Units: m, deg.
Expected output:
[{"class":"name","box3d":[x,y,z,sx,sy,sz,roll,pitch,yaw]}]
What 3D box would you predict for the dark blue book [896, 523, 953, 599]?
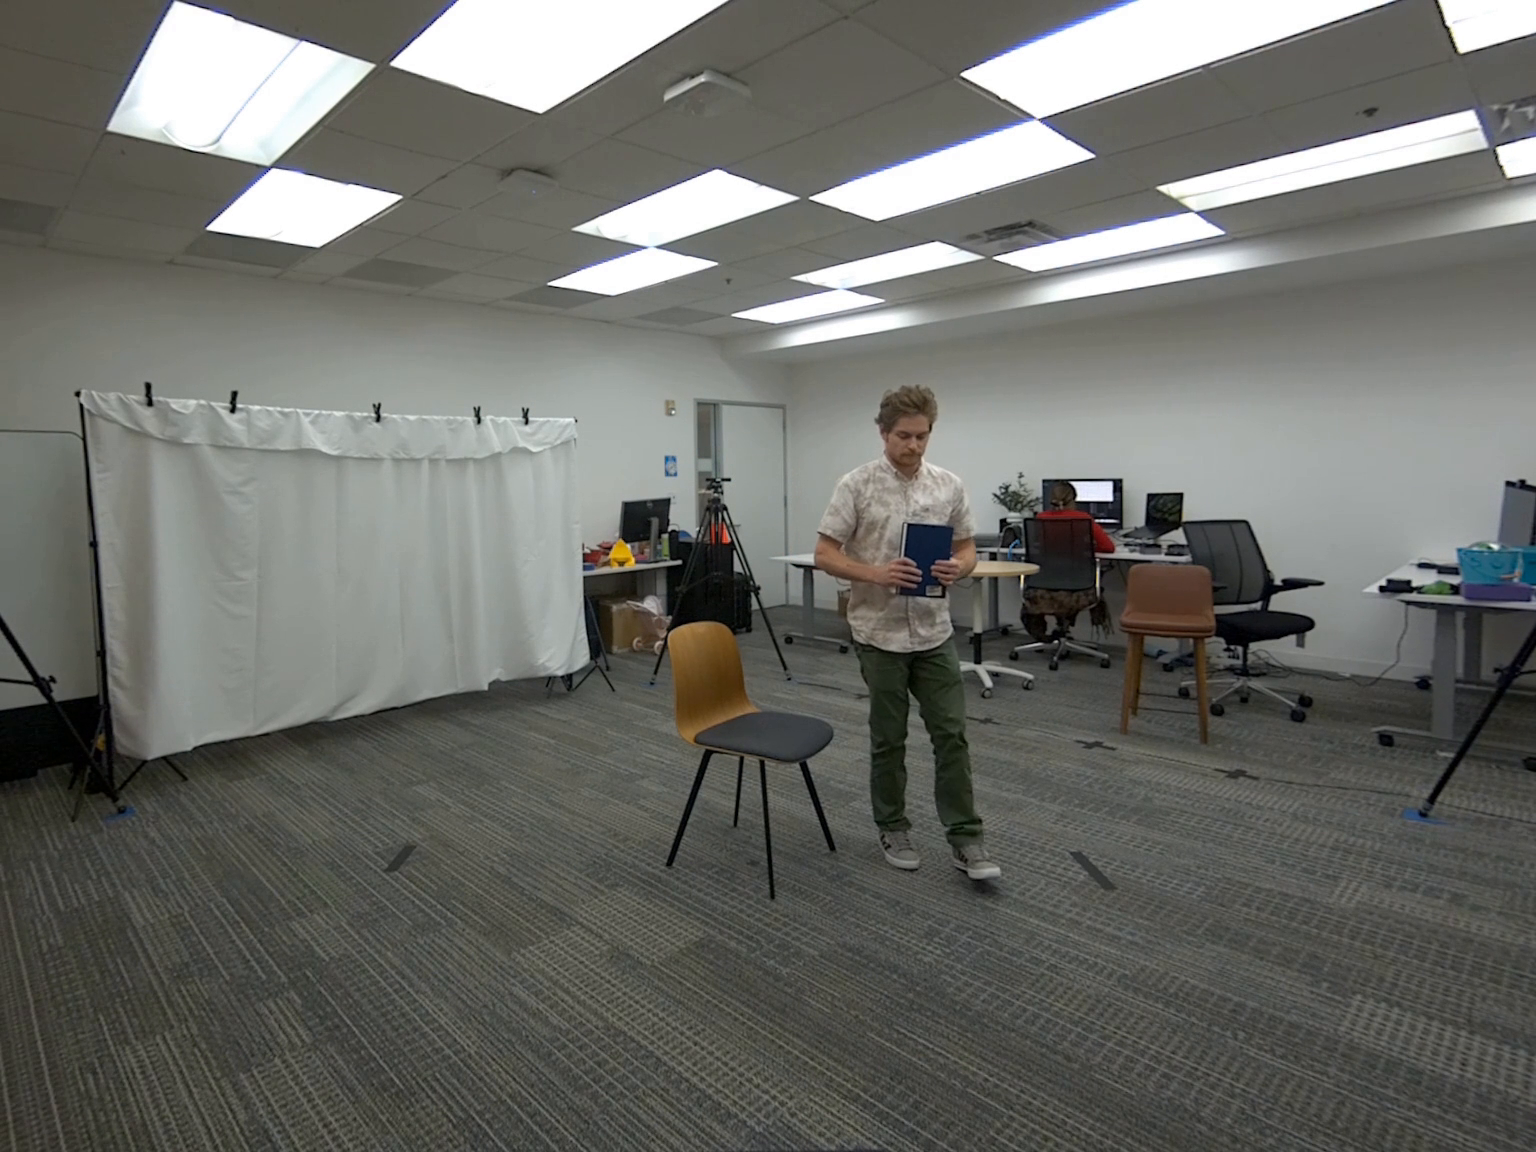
[{"class":"dark blue book","box3d":[0.531,-0.052,2.861,0.162,0.243,0.046,4,8,-6]}]
